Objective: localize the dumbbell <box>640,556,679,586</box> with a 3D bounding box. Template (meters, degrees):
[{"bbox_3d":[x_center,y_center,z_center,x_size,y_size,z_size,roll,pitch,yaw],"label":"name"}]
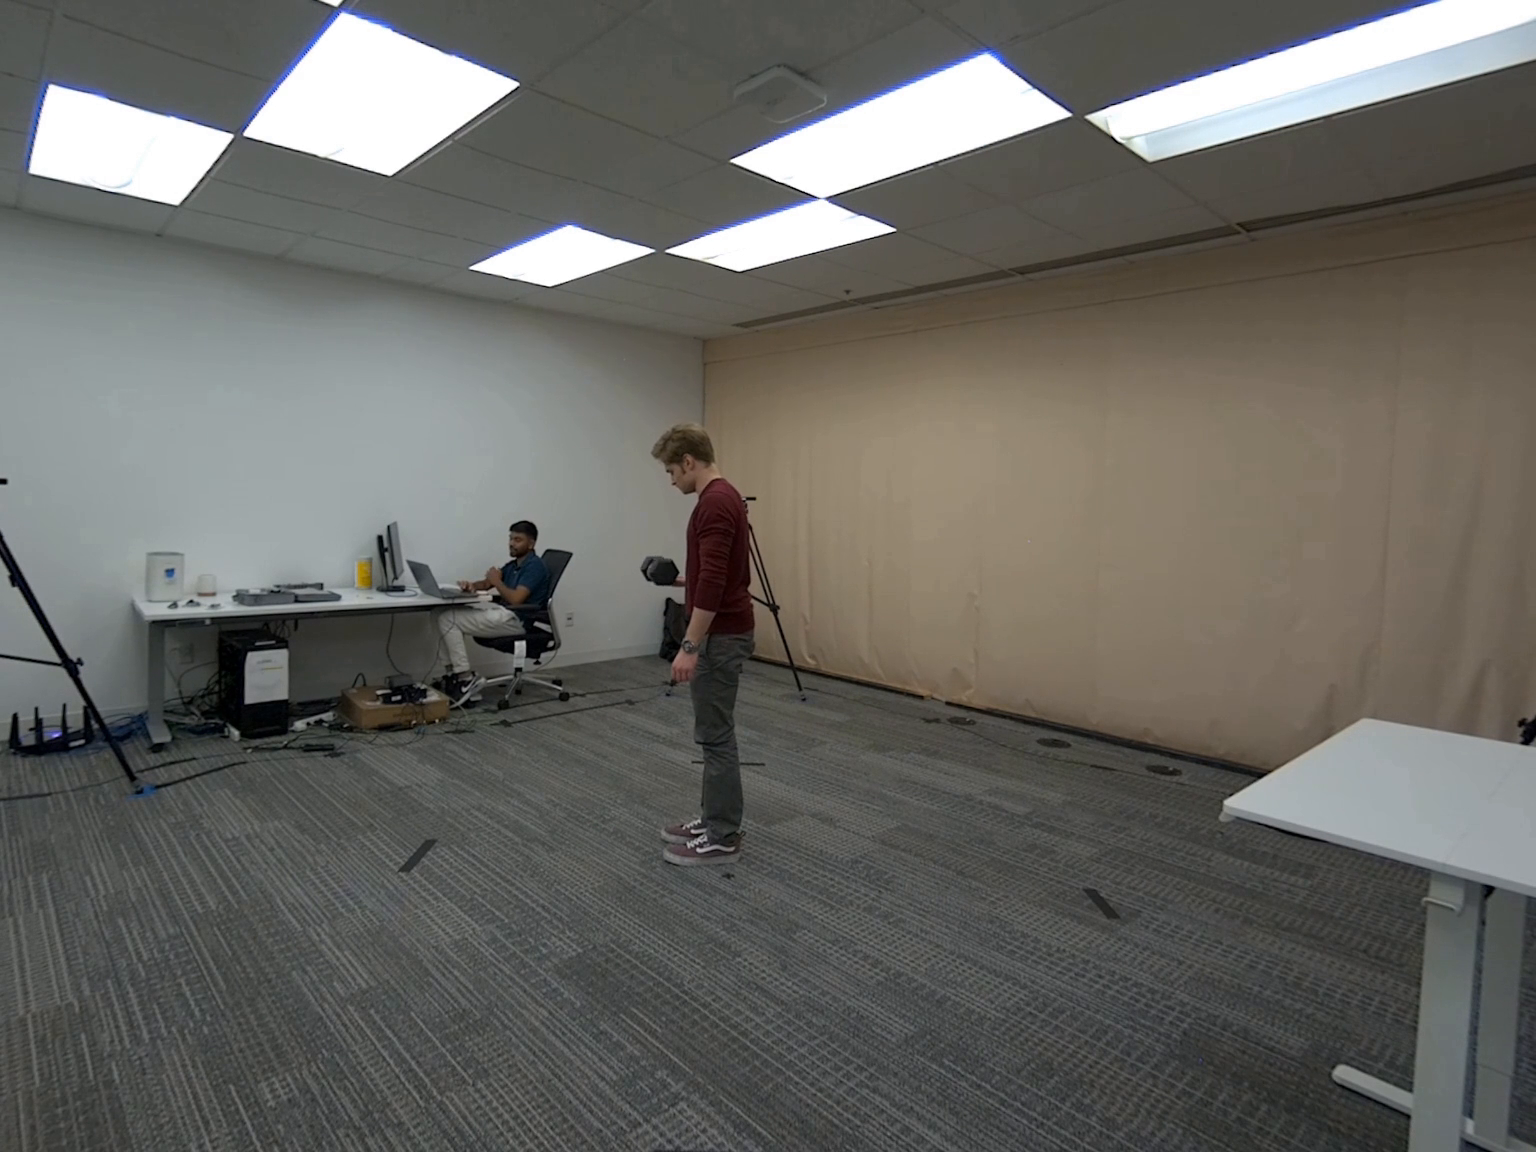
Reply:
[{"bbox_3d":[-0.457,-0.025,3.511,0.121,0.108,0.298,-1,5,-17],"label":"dumbbell"}]
